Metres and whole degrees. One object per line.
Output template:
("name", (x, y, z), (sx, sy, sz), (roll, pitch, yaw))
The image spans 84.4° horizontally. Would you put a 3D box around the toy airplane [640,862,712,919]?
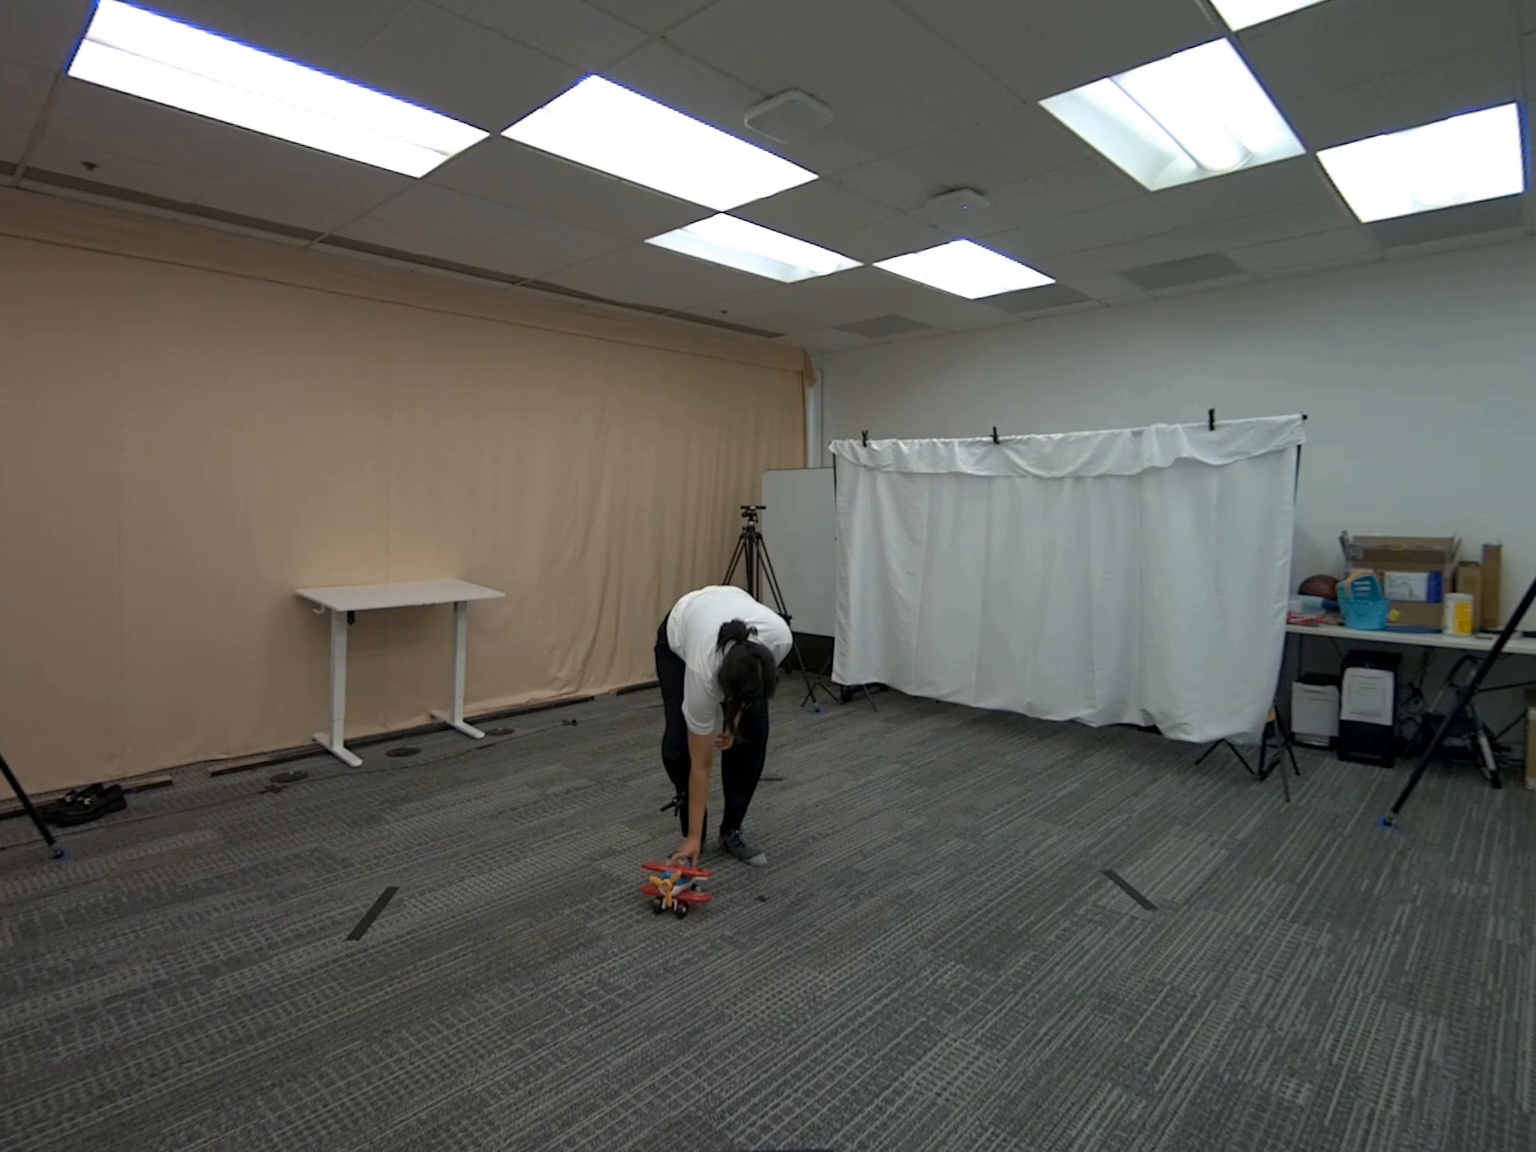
("toy airplane", (-0.325, 1.069, 2.953), (0.249, 0.156, 0.262), (-2, 5, -9))
